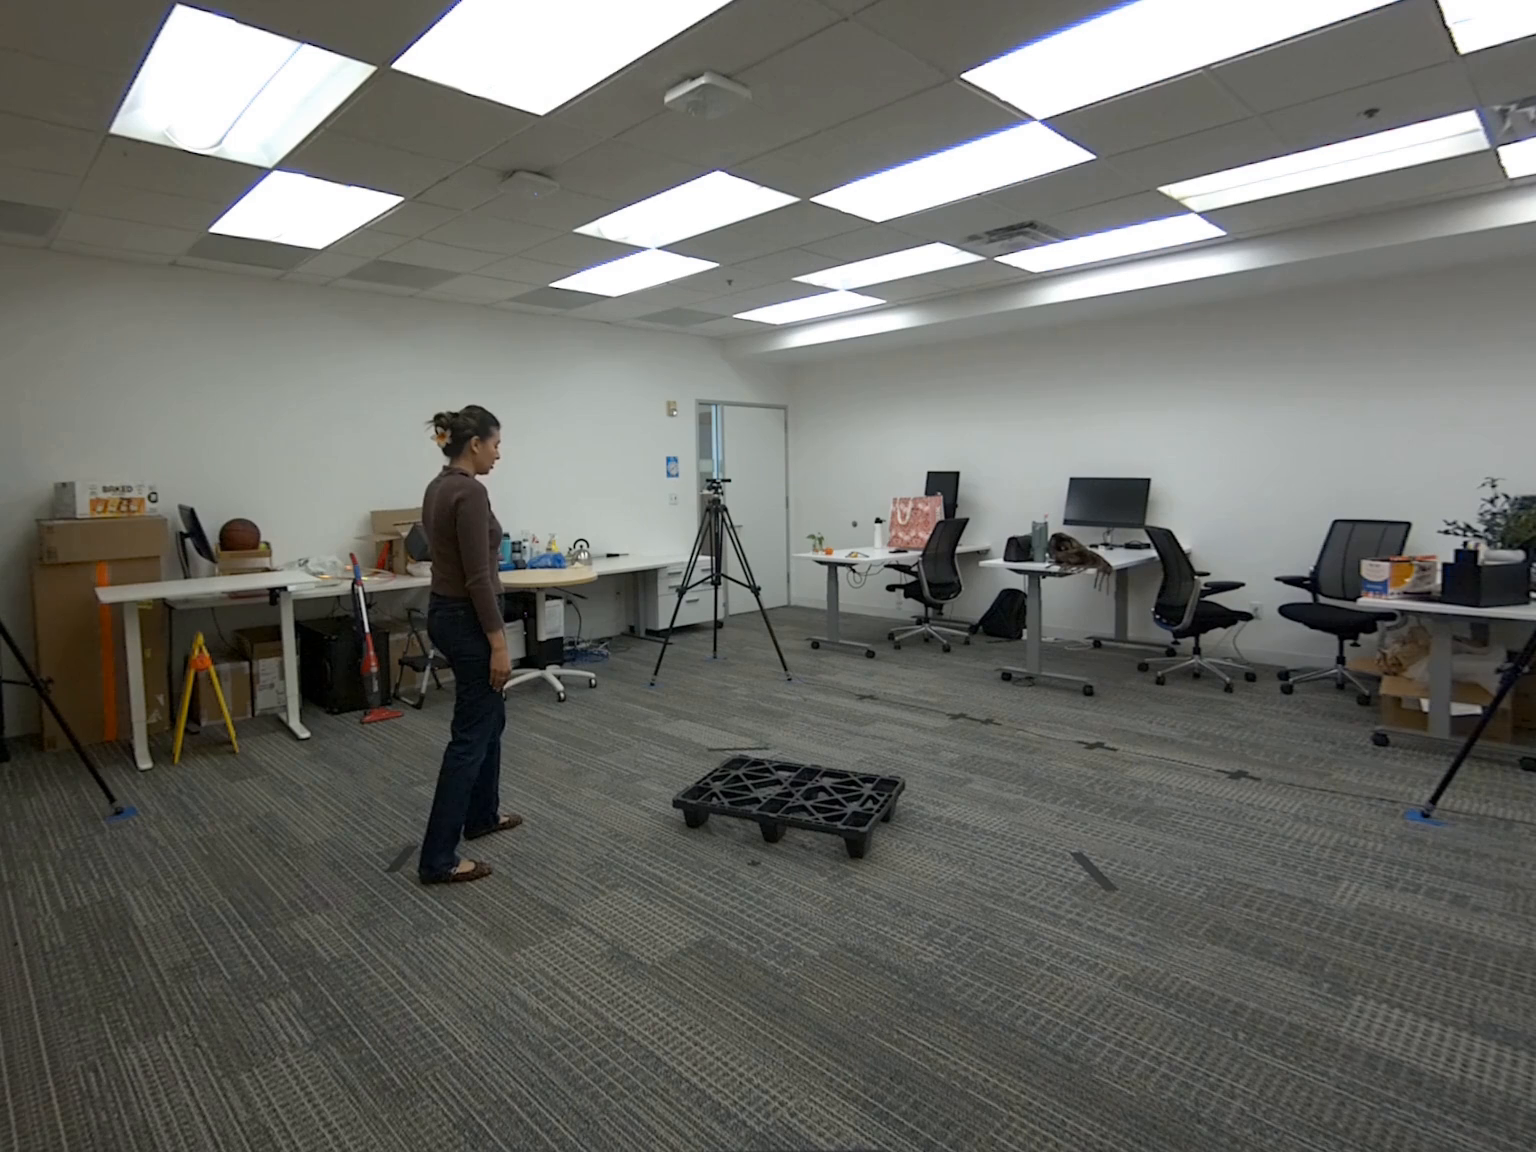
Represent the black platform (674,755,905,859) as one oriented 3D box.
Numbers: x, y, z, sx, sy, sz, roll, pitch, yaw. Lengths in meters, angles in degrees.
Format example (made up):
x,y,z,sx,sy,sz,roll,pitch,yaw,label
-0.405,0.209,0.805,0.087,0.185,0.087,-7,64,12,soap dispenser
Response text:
x,y,z,sx,sy,sz,roll,pitch,yaw,label
0.096,0.928,3.495,0.824,0.143,0.594,2,6,24,black platform
